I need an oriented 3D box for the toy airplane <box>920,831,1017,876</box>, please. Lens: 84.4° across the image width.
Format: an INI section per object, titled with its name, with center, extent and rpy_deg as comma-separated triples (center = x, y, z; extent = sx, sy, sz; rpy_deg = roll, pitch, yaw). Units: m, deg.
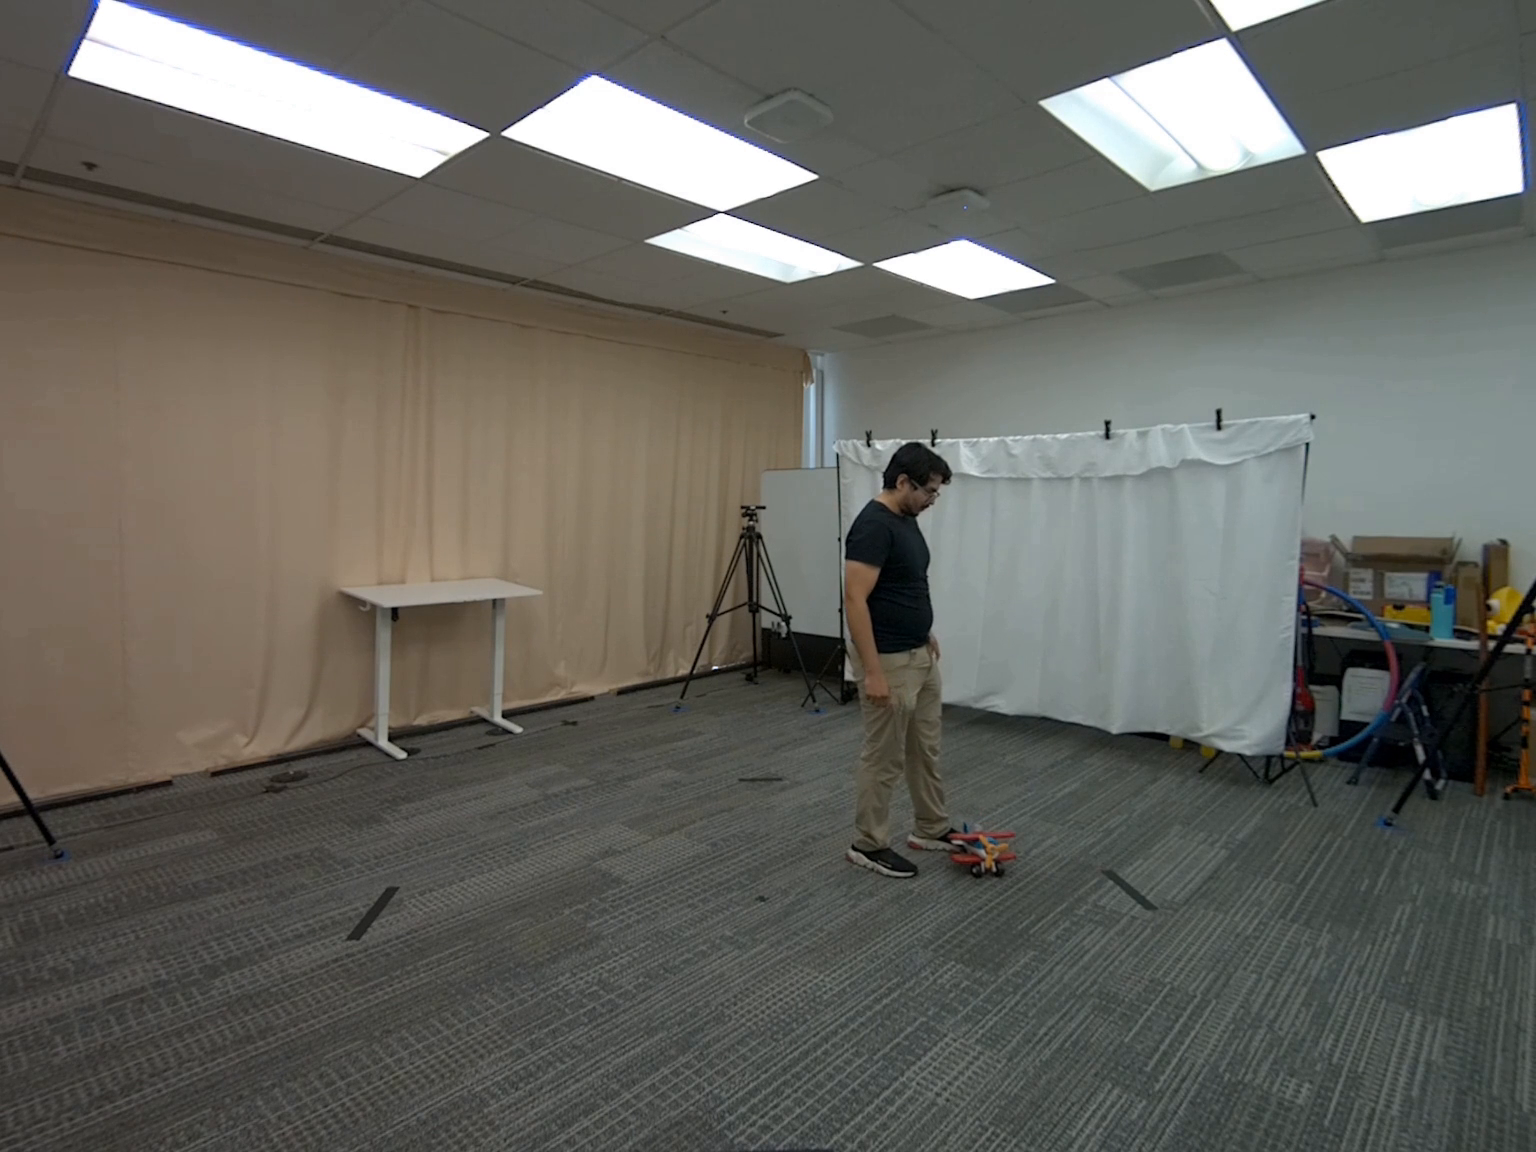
[toy airplane]
center = 0.802, 1.052, 3.232
extent = 0.244, 0.156, 0.268
rpy_deg = -3, 6, -36
